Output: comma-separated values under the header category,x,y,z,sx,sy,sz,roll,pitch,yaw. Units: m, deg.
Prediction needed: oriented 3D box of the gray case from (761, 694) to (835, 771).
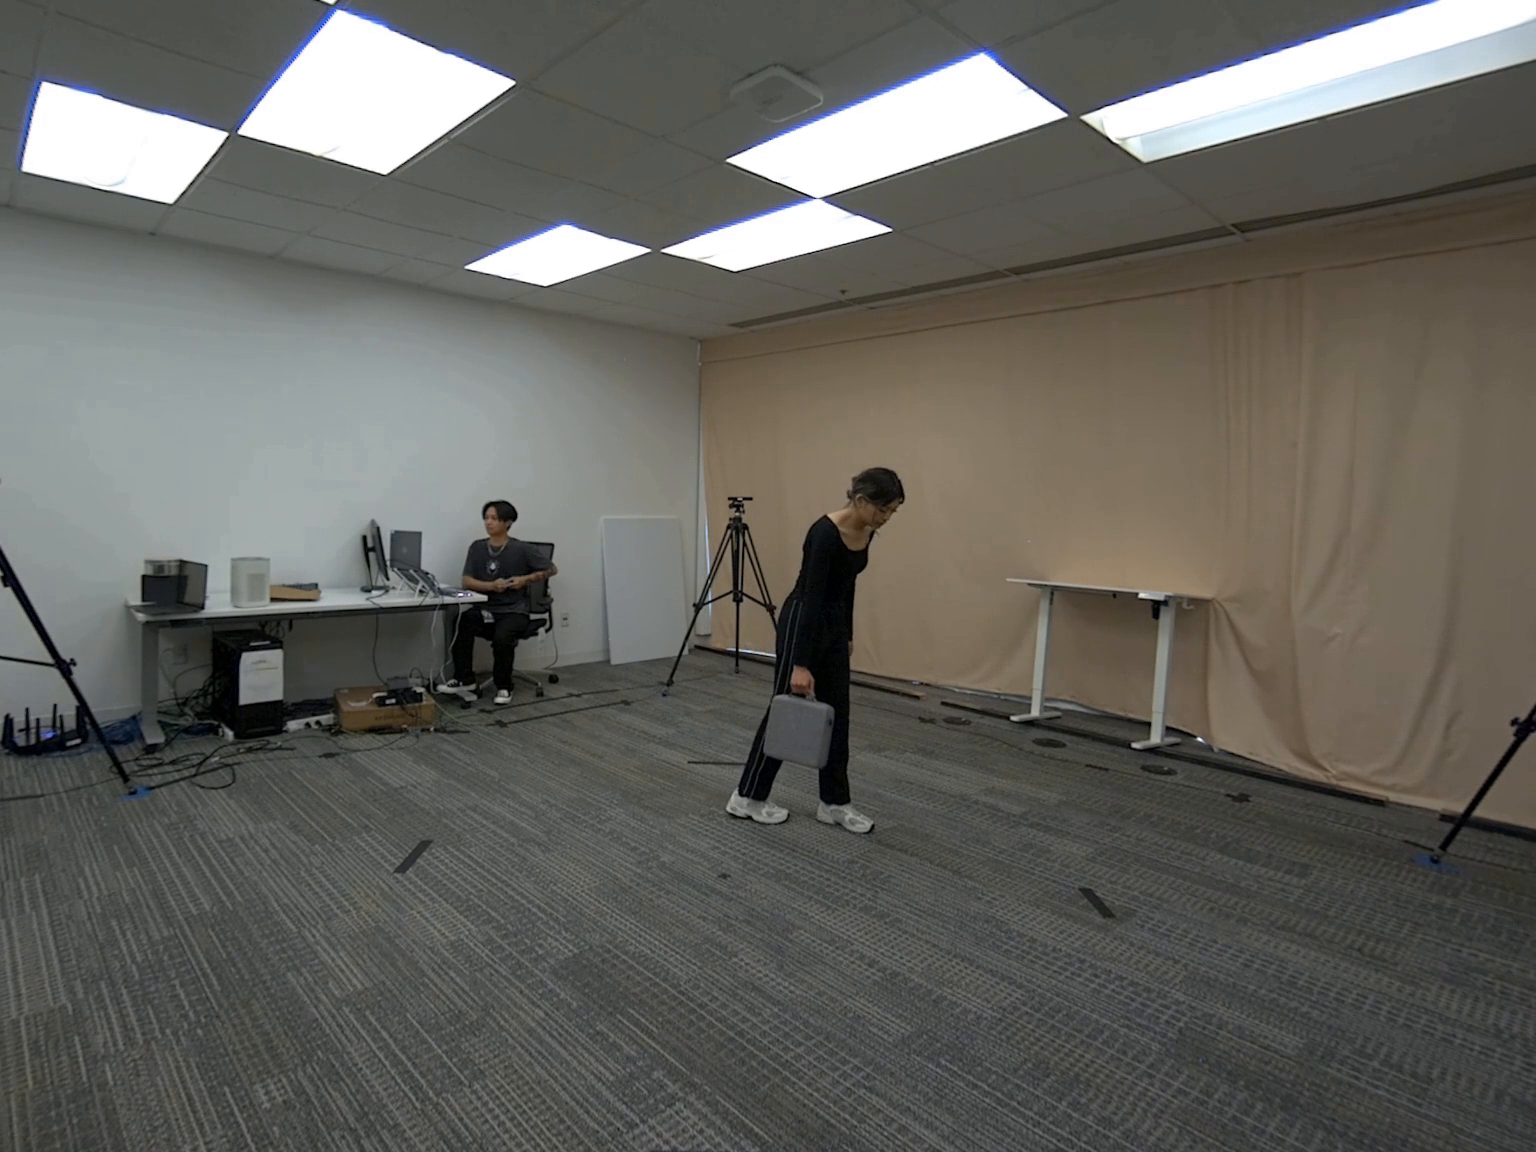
category,x,y,z,sx,sy,sz,roll,pitch,yaw
gray case,0.119,0.619,3.377,0.262,0.261,0.102,7,-1,27
